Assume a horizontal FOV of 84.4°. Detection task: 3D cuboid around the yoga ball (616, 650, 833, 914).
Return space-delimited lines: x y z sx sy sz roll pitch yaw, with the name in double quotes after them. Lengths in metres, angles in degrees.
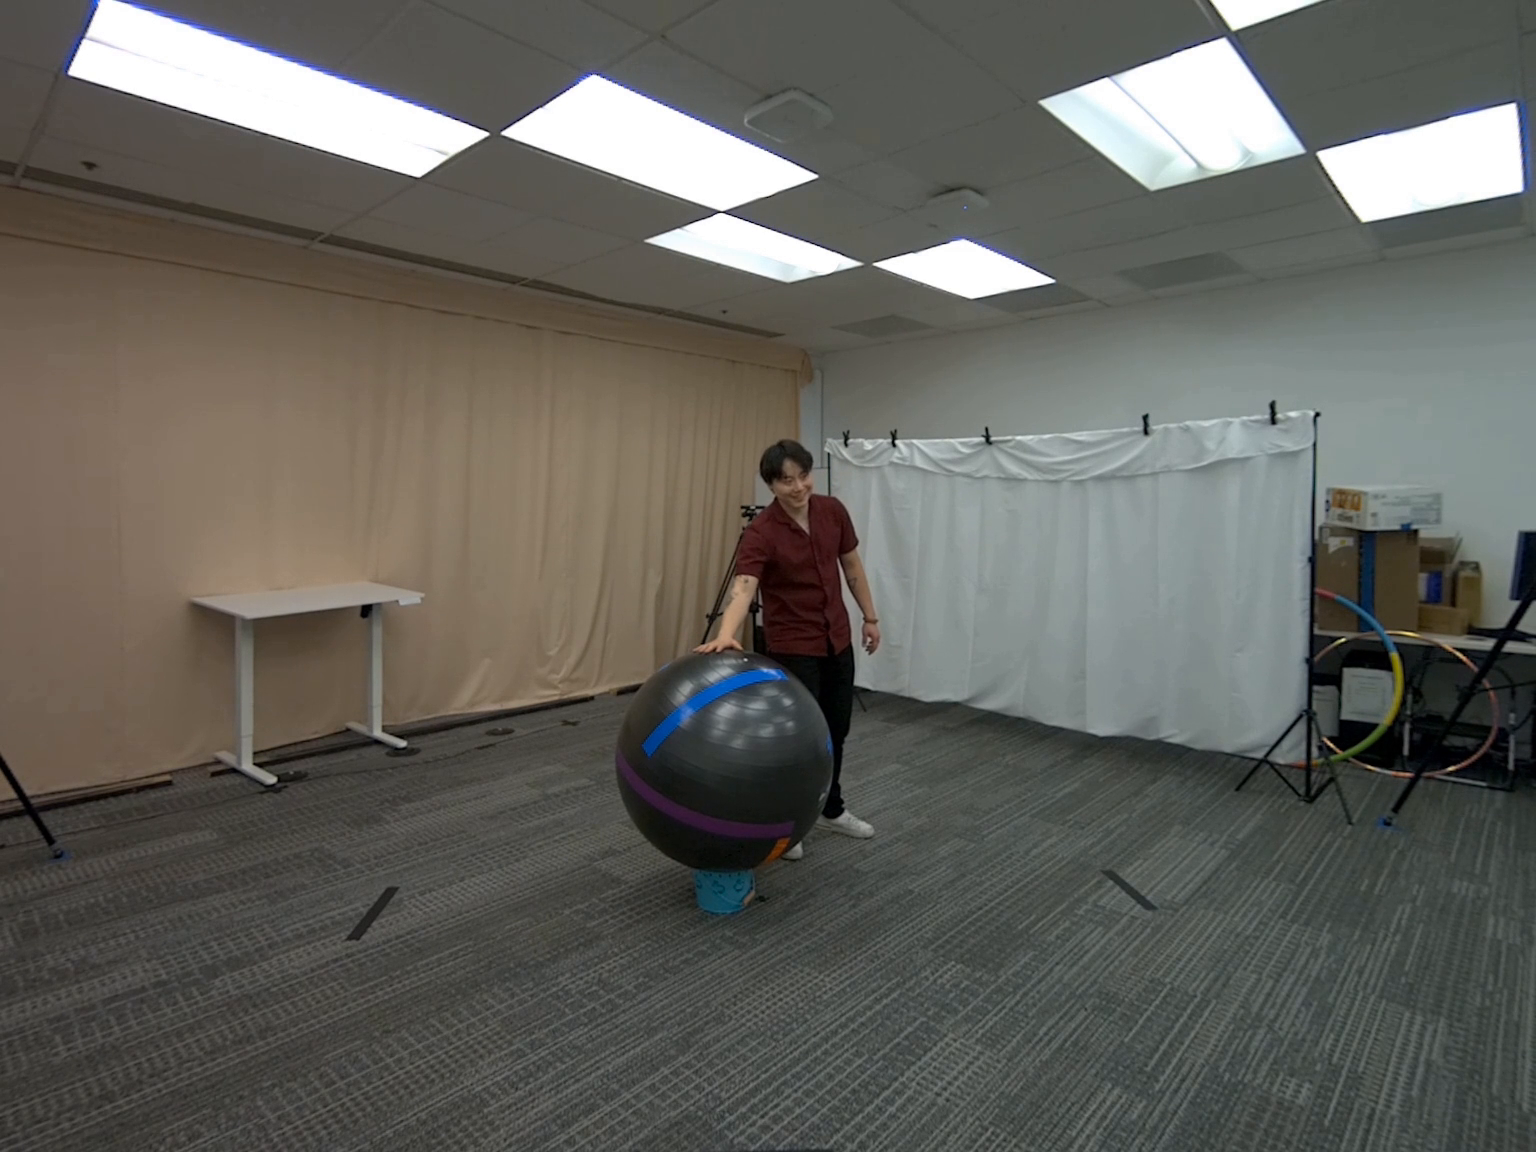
-0.151 0.639 2.943 0.757 0.756 0.760 0 4 -2 "yoga ball"
